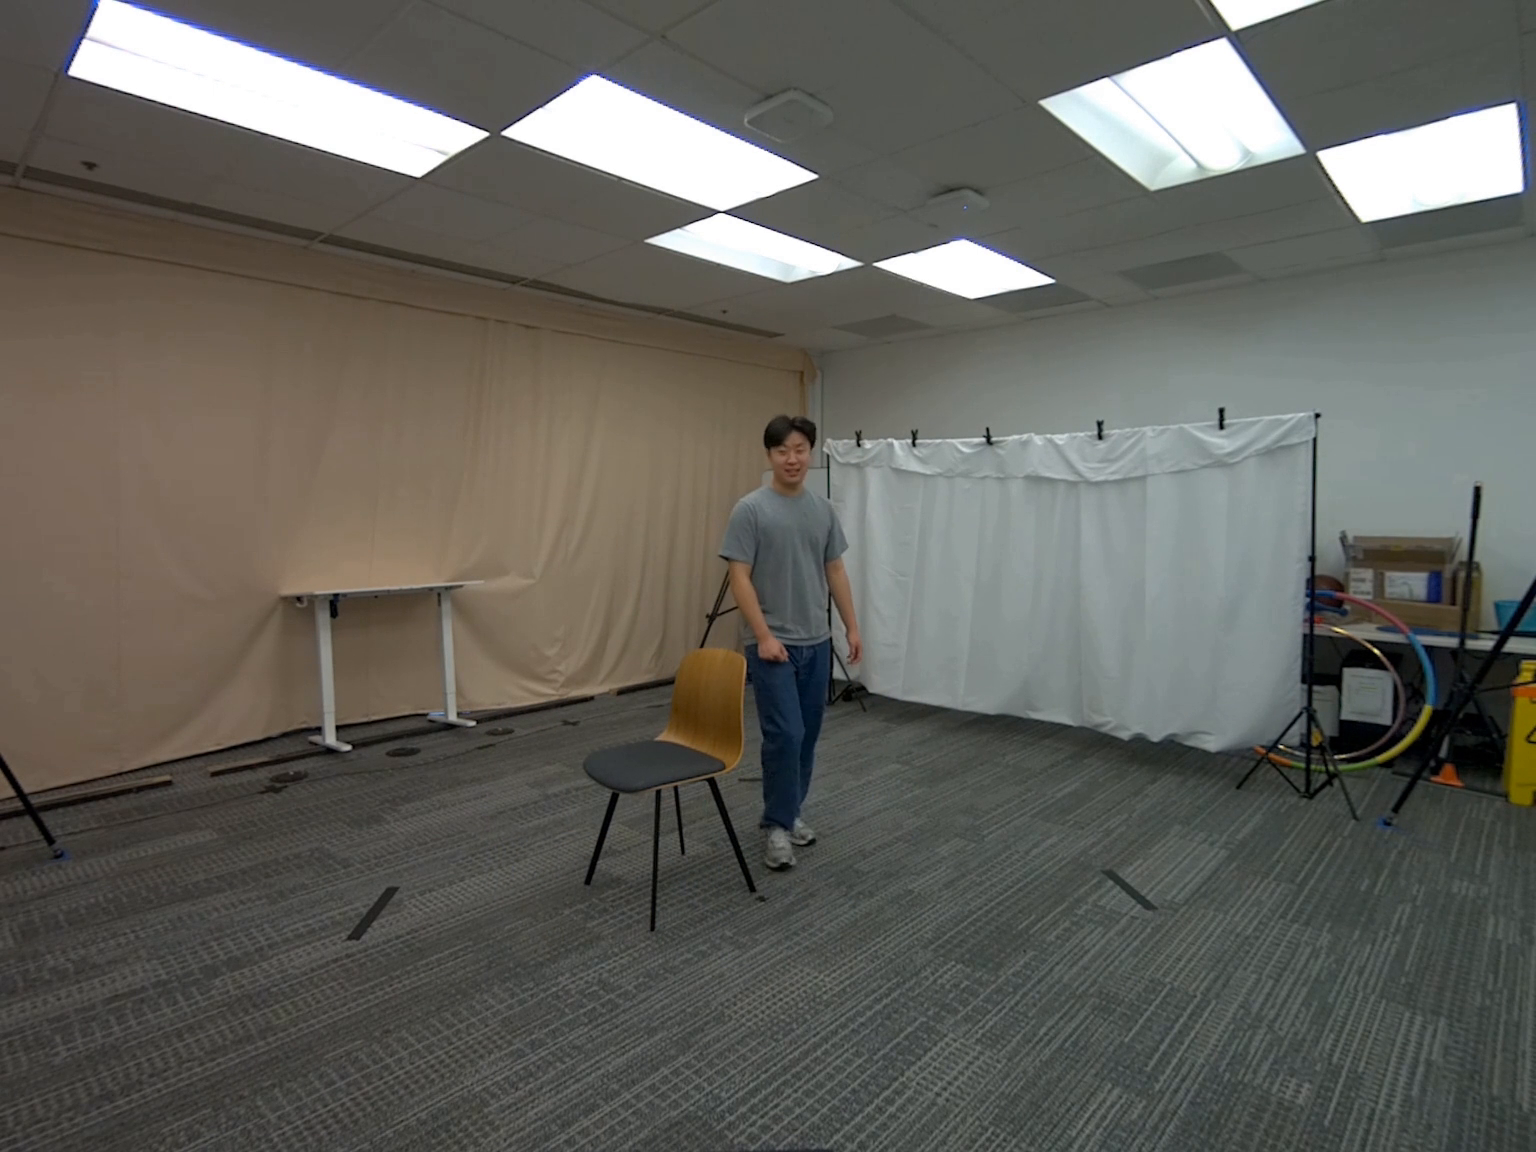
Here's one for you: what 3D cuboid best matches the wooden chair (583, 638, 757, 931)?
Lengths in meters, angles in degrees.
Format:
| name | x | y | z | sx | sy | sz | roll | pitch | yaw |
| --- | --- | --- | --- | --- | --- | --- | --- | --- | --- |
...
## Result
| name | x | y | z | sx | sy | sz | roll | pitch | yaw |
| --- | --- | --- | --- | --- | --- | --- | --- | --- | --- |
| wooden chair | -0.369 | 0.717 | 3.032 | 0.506 | 0.877 | 0.494 | 3 | 1 | -40 |
